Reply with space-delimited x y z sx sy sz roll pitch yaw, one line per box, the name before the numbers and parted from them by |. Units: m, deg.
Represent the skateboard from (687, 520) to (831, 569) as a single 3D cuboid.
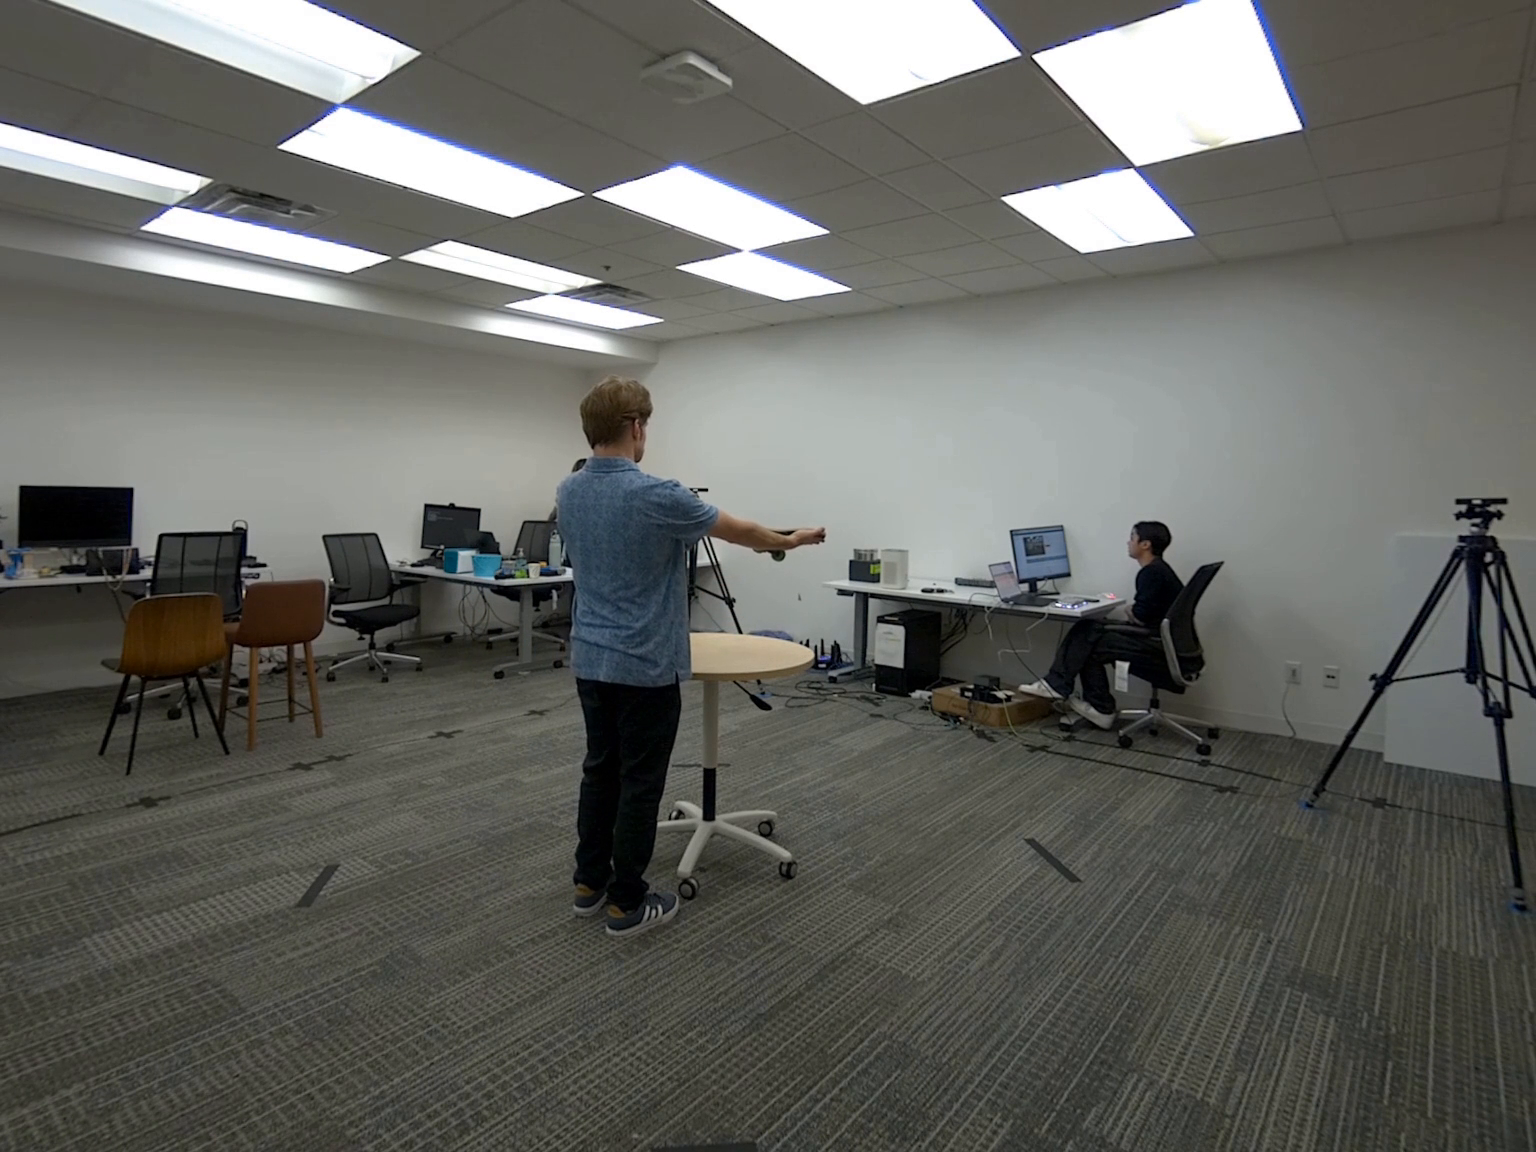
skateboard | -0.179 -0.140 3.090 0.810 0.111 0.186 6 -8 31
